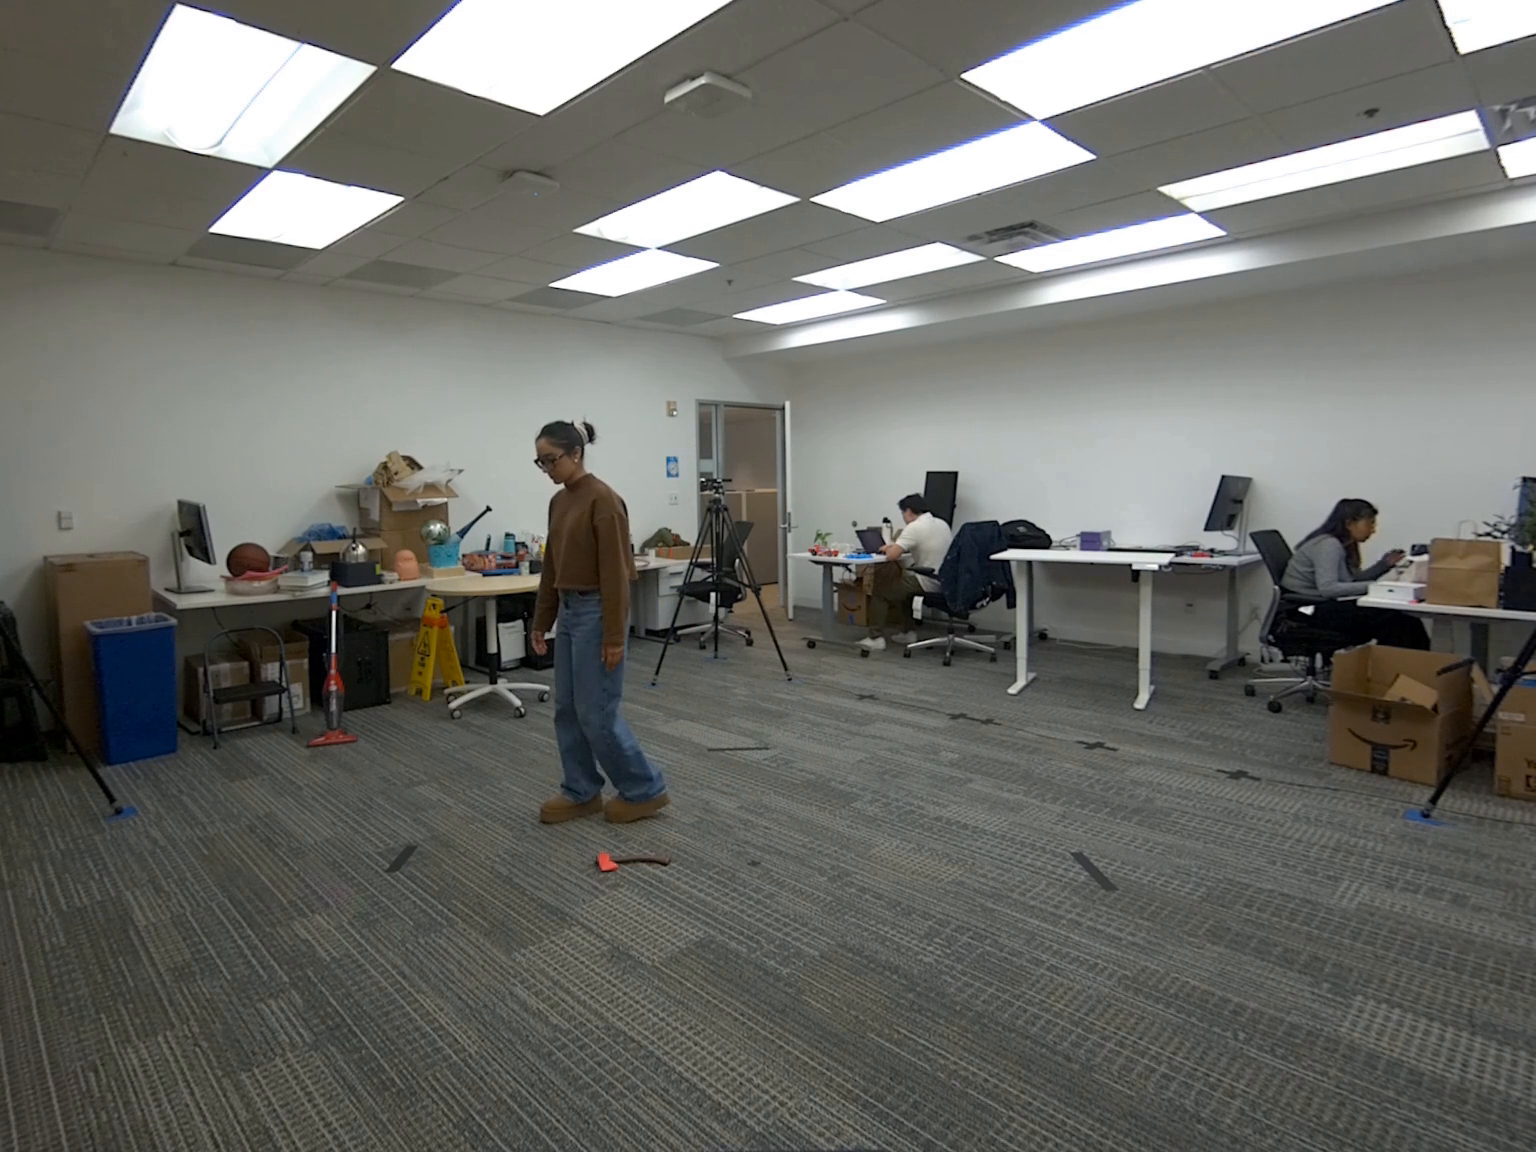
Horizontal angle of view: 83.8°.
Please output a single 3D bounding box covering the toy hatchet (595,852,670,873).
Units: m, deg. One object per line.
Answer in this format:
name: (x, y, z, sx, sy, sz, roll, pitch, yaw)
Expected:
toy hatchet: (-0.495, 1.044, 3.093, 0.273, 0.029, 0.130, 2, 6, 10)
